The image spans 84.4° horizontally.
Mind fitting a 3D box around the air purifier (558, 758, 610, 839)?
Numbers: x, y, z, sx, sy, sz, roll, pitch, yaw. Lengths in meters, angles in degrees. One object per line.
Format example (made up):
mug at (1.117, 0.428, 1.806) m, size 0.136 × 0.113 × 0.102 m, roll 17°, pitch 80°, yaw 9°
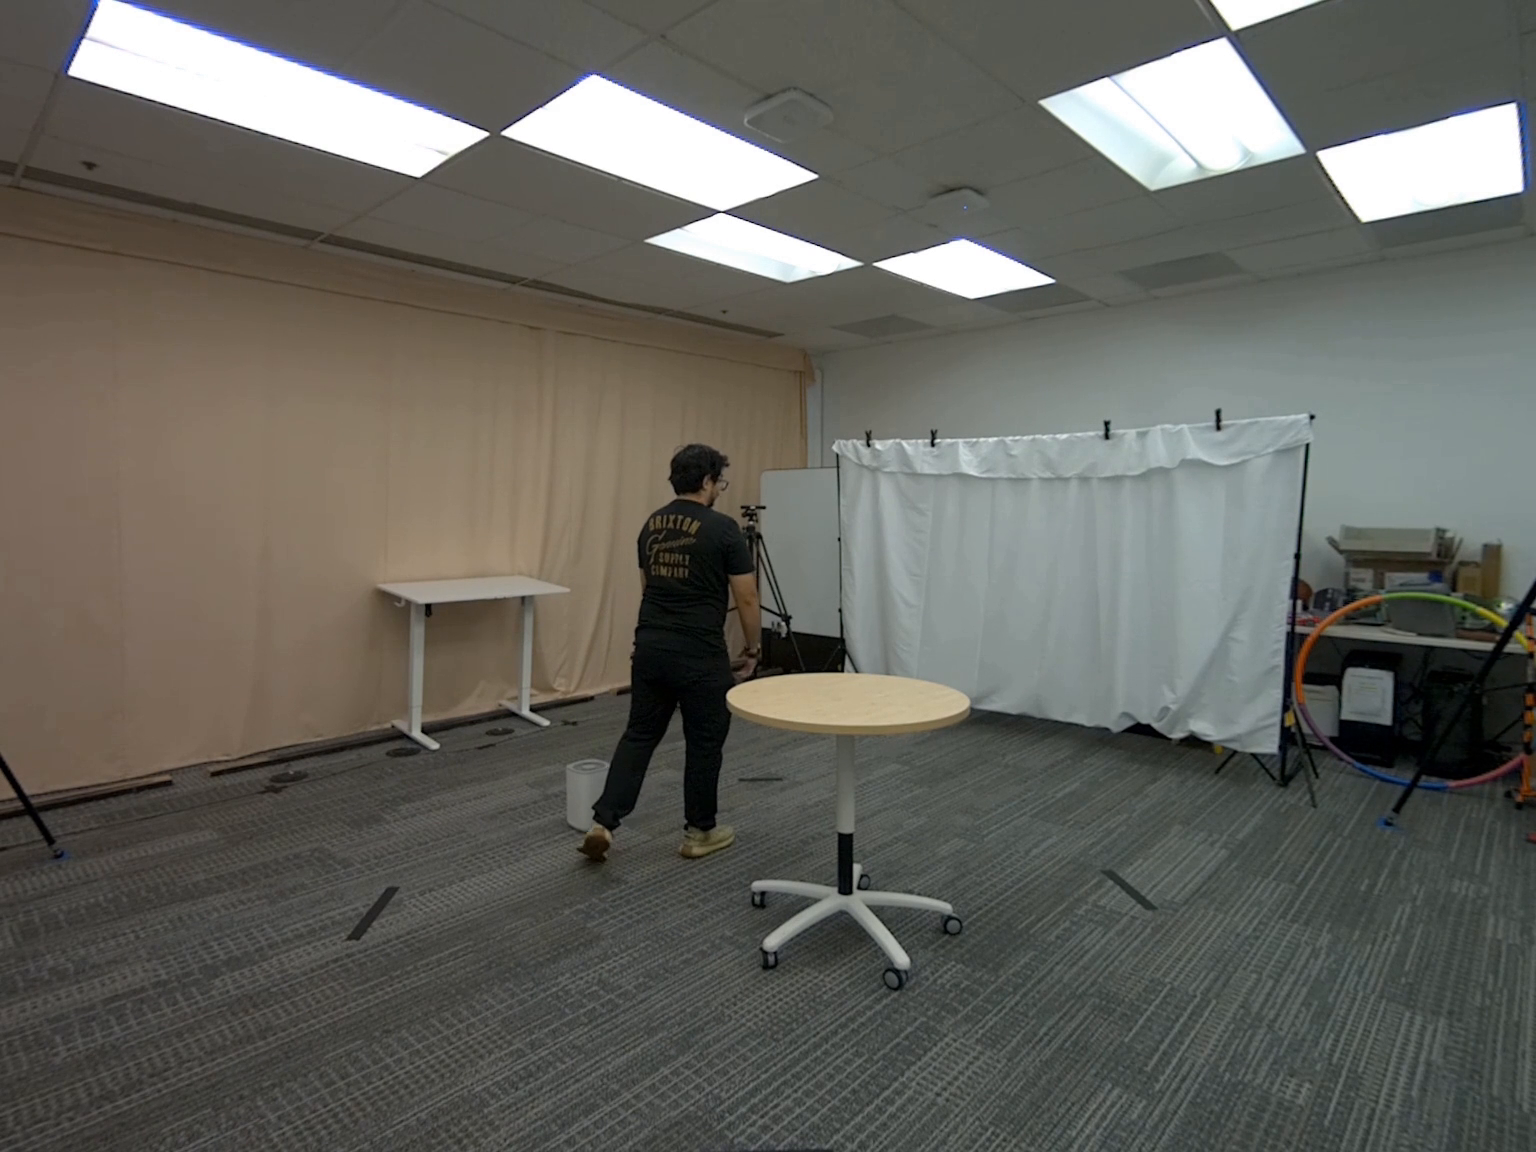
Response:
air purifier at (-0.786, 0.958, 3.677) m, size 0.177 × 0.265 × 0.166 m, roll 2°, pitch 4°, yaw 43°
